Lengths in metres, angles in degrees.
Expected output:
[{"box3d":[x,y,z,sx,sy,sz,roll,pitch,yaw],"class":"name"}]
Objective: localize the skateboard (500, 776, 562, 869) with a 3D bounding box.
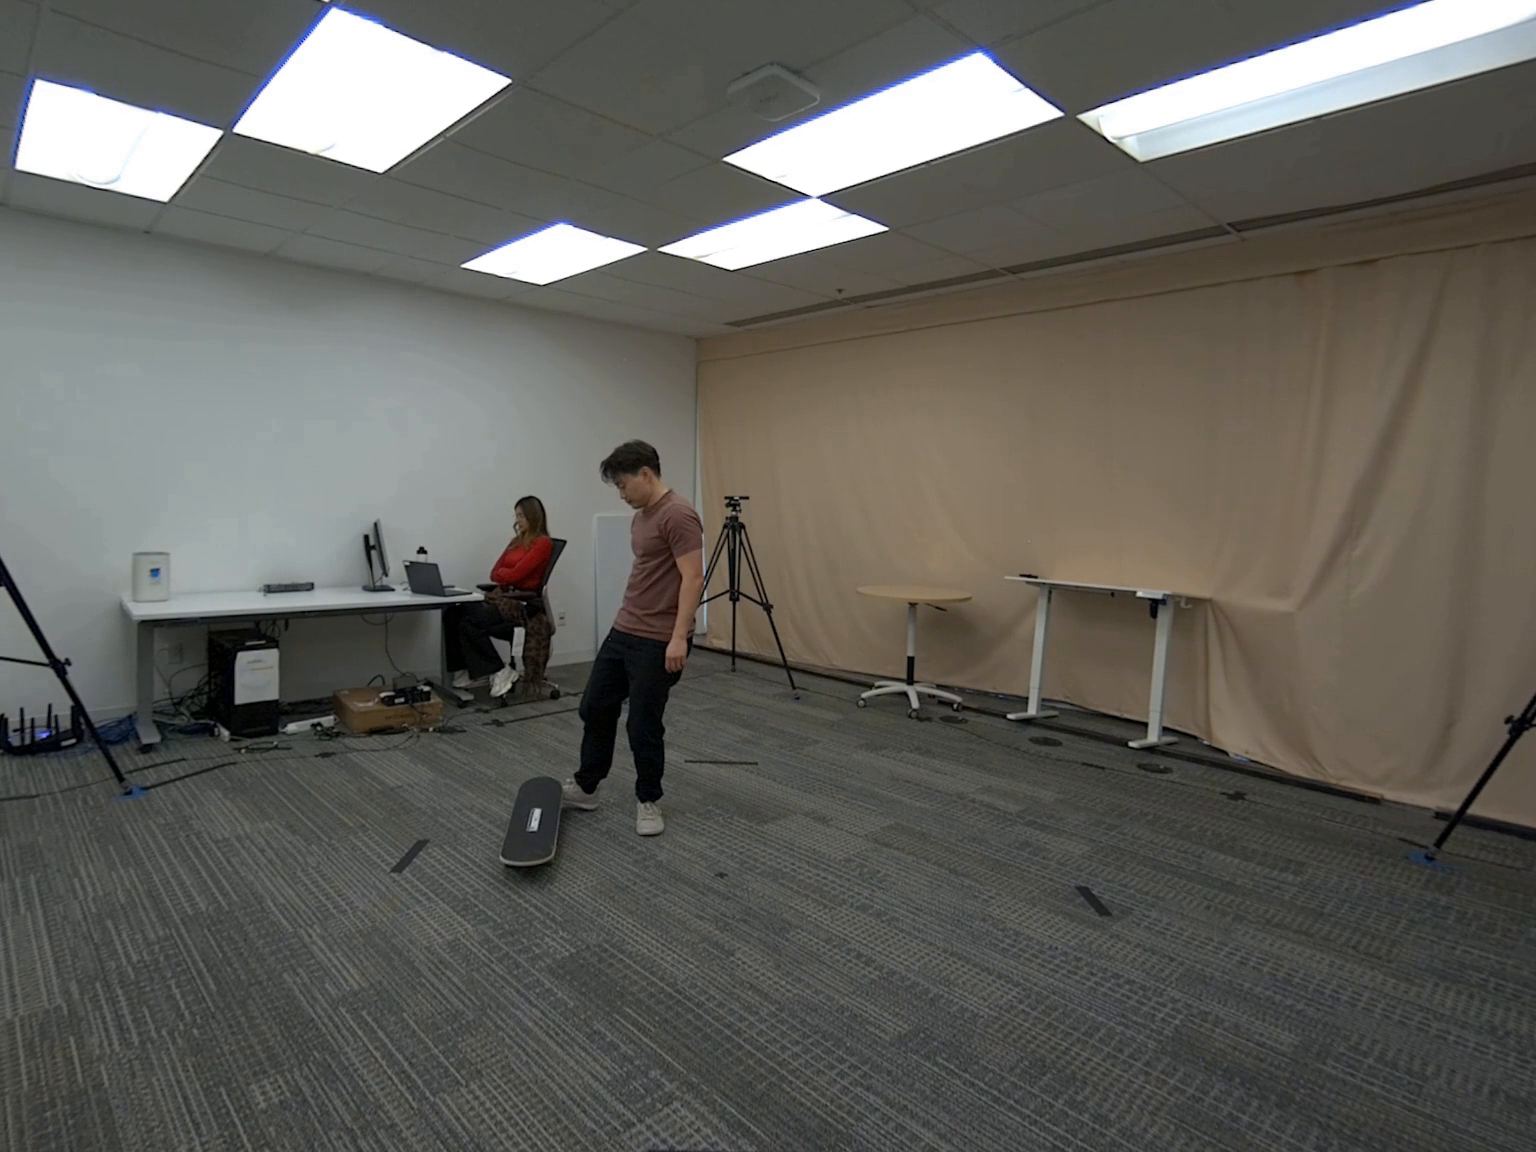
[{"box3d":[-0.932,1.000,3.331,0.192,0.110,0.794,2,7,-9],"class":"skateboard"}]
